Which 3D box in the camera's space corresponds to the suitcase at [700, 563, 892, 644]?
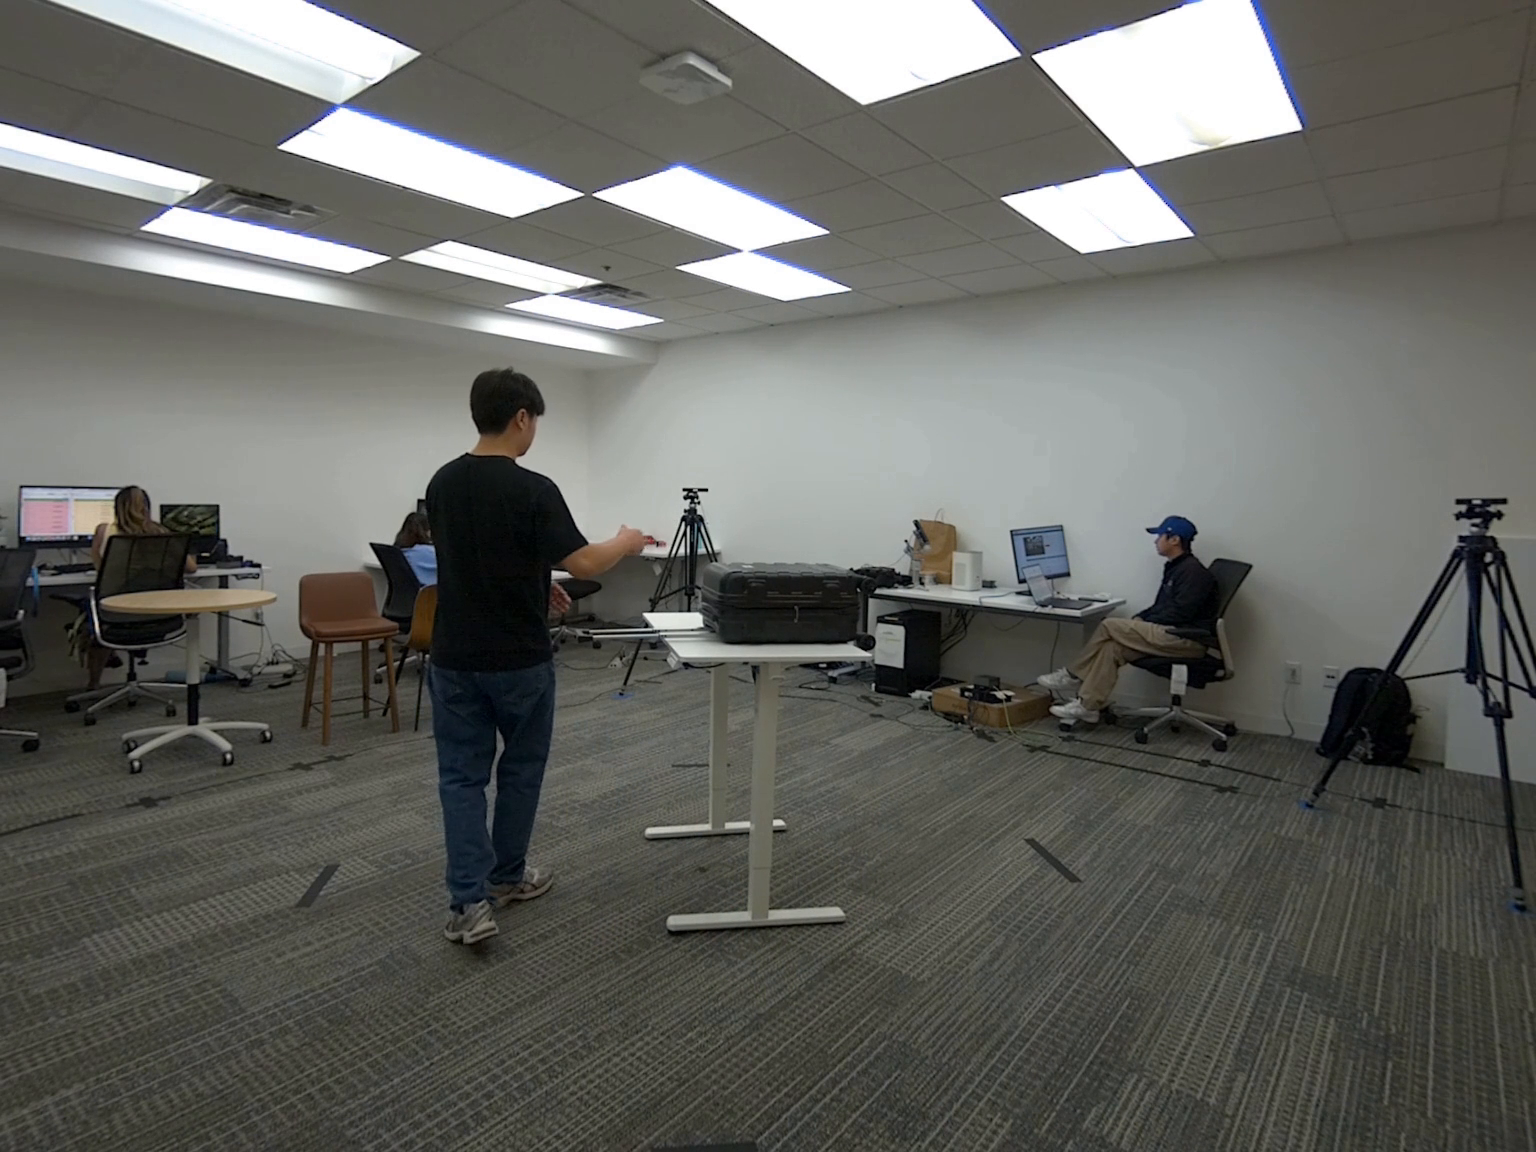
[{"bbox_3d":[-0.146,0.086,2.883,0.962,0.256,0.392,2,5,-16],"label":"suitcase"}]
